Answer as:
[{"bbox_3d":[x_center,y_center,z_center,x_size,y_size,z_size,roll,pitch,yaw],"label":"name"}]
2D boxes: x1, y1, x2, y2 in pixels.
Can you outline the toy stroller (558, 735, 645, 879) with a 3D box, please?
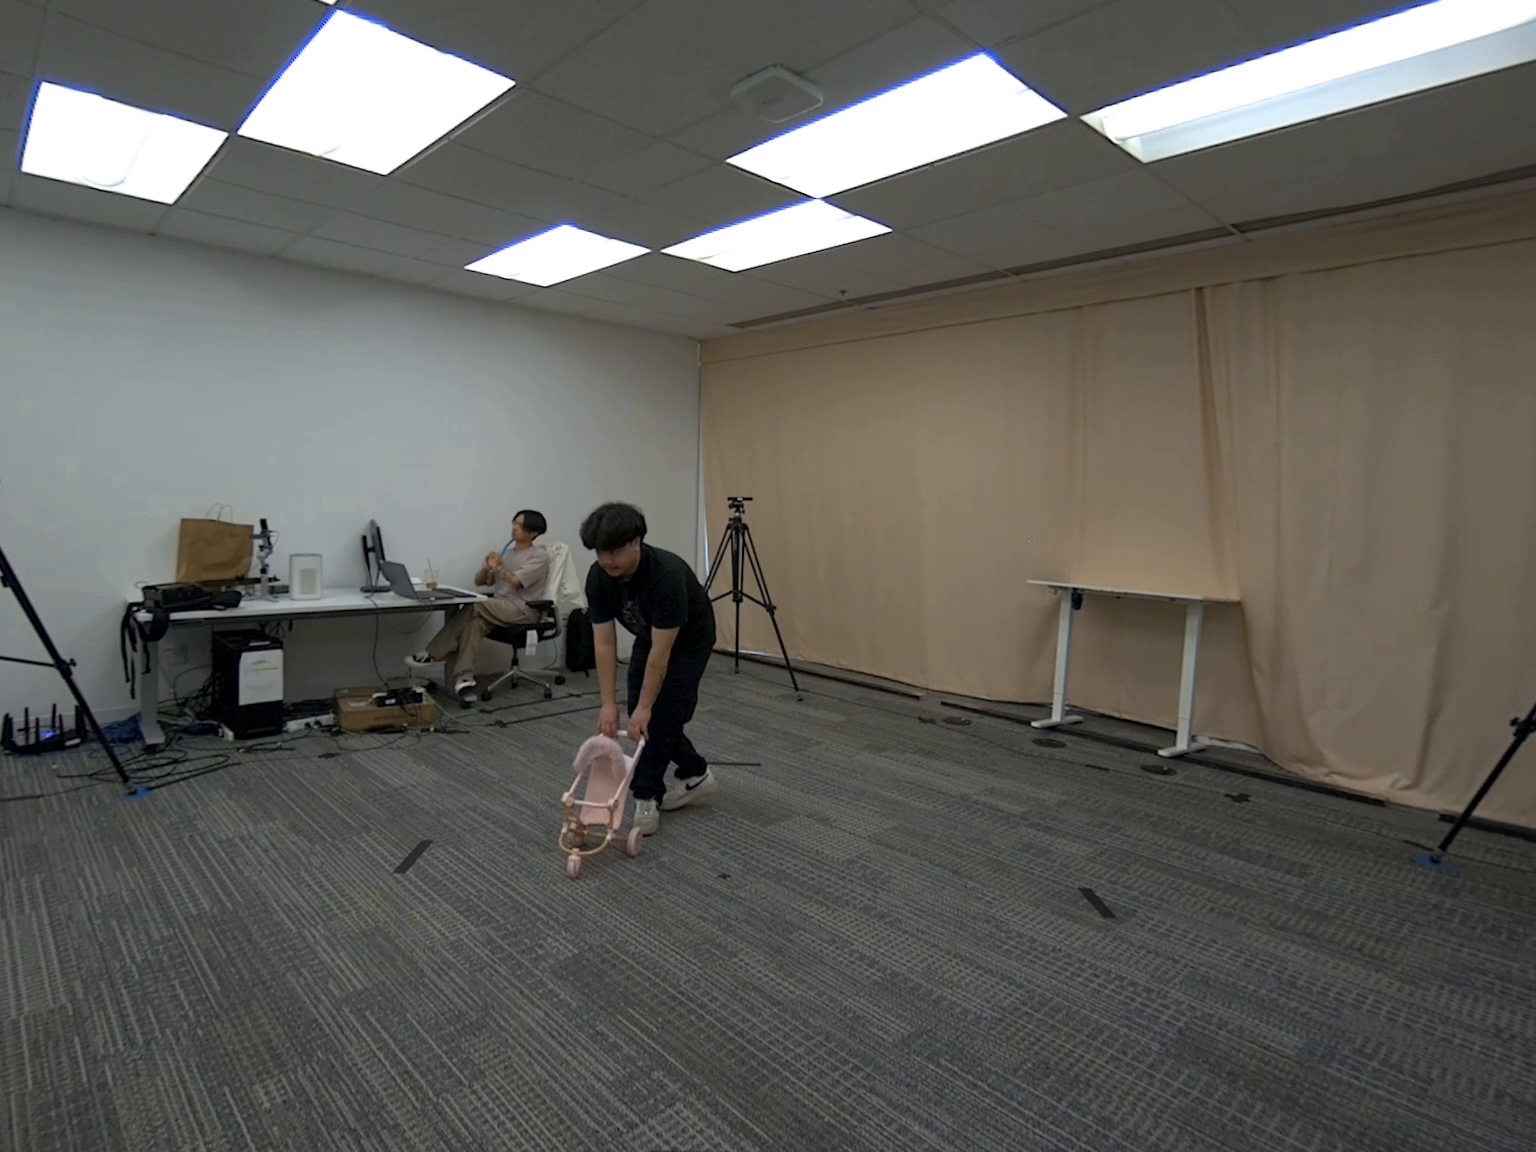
[{"bbox_3d":[-0.663,0.864,3.231,0.286,0.539,0.333,2,-12,21],"label":"toy stroller"}]
